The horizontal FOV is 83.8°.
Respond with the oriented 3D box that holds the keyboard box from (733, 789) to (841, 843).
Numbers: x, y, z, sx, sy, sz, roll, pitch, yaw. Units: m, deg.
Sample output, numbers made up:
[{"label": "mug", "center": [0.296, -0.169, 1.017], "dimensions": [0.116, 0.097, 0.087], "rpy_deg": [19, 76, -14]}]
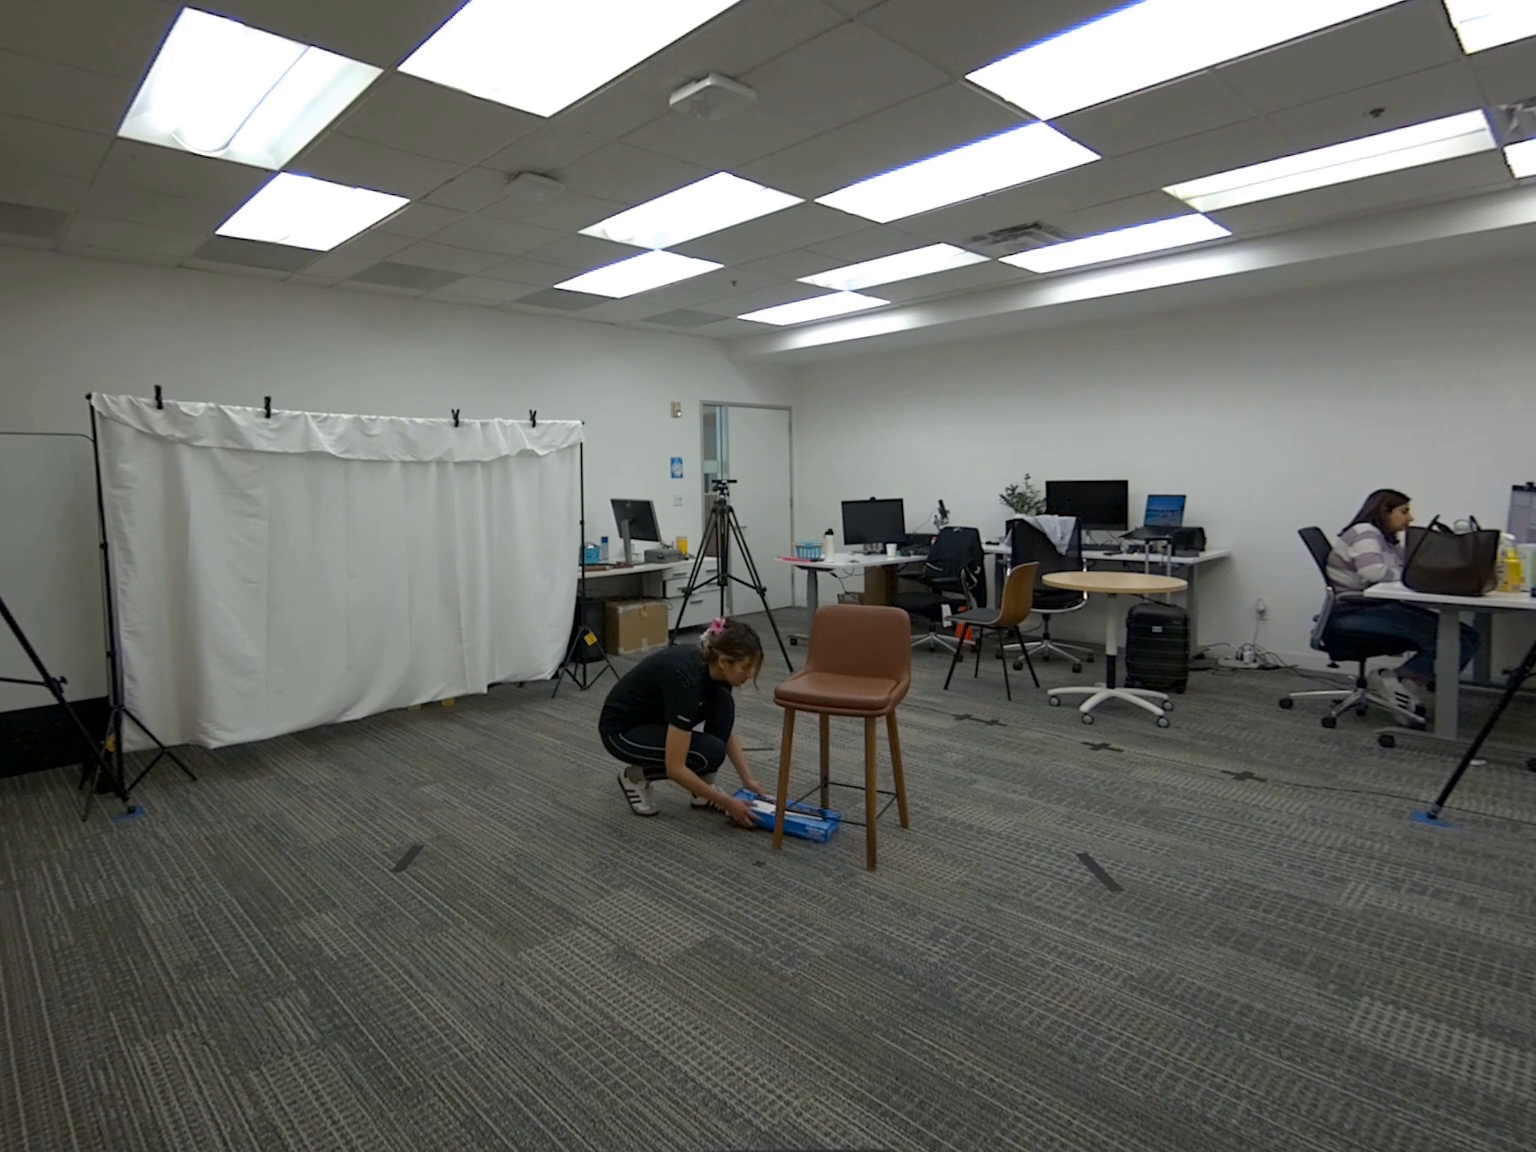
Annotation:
[{"label": "keyboard box", "center": [0.060, 0.965, 3.433], "dimensions": [0.448, 0.059, 0.172], "rpy_deg": [7, 8, 25]}]
